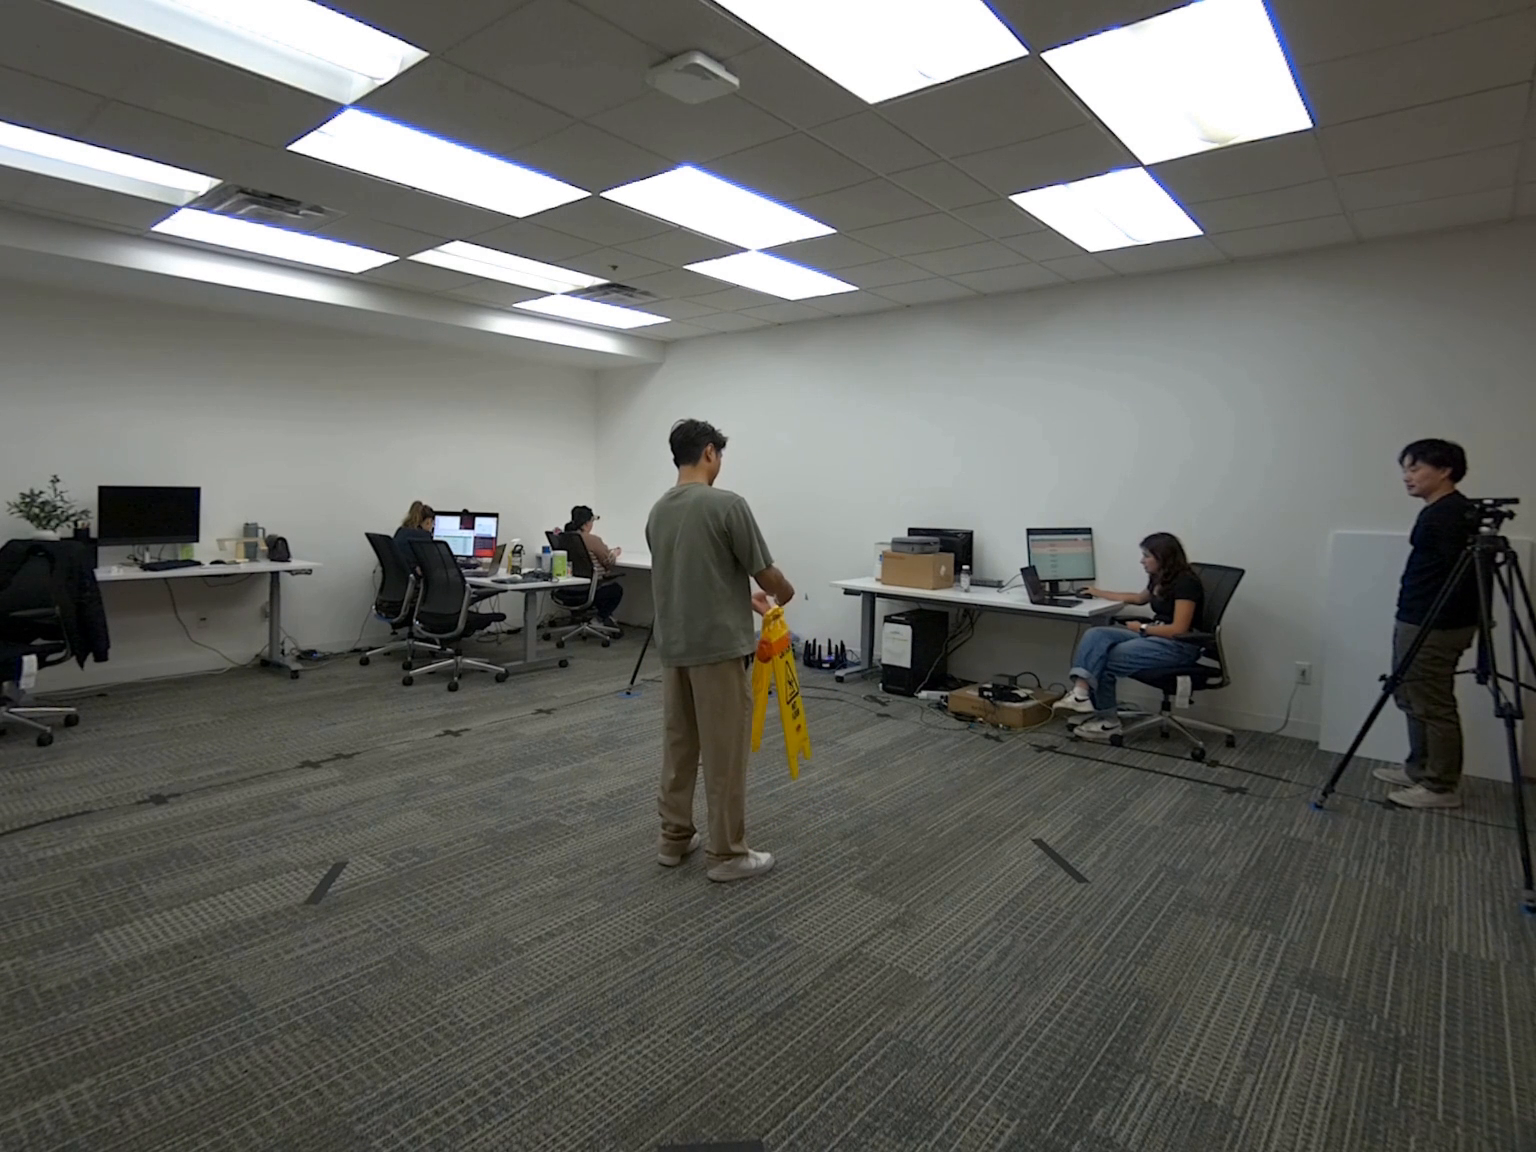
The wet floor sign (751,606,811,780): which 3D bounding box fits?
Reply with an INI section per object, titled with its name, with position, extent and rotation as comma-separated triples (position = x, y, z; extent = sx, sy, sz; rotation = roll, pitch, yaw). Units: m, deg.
[wet floor sign]
position = 0.015, 0.451, 3.443
extent = 0.296, 0.640, 0.279
rotation = 4, 10, 18
